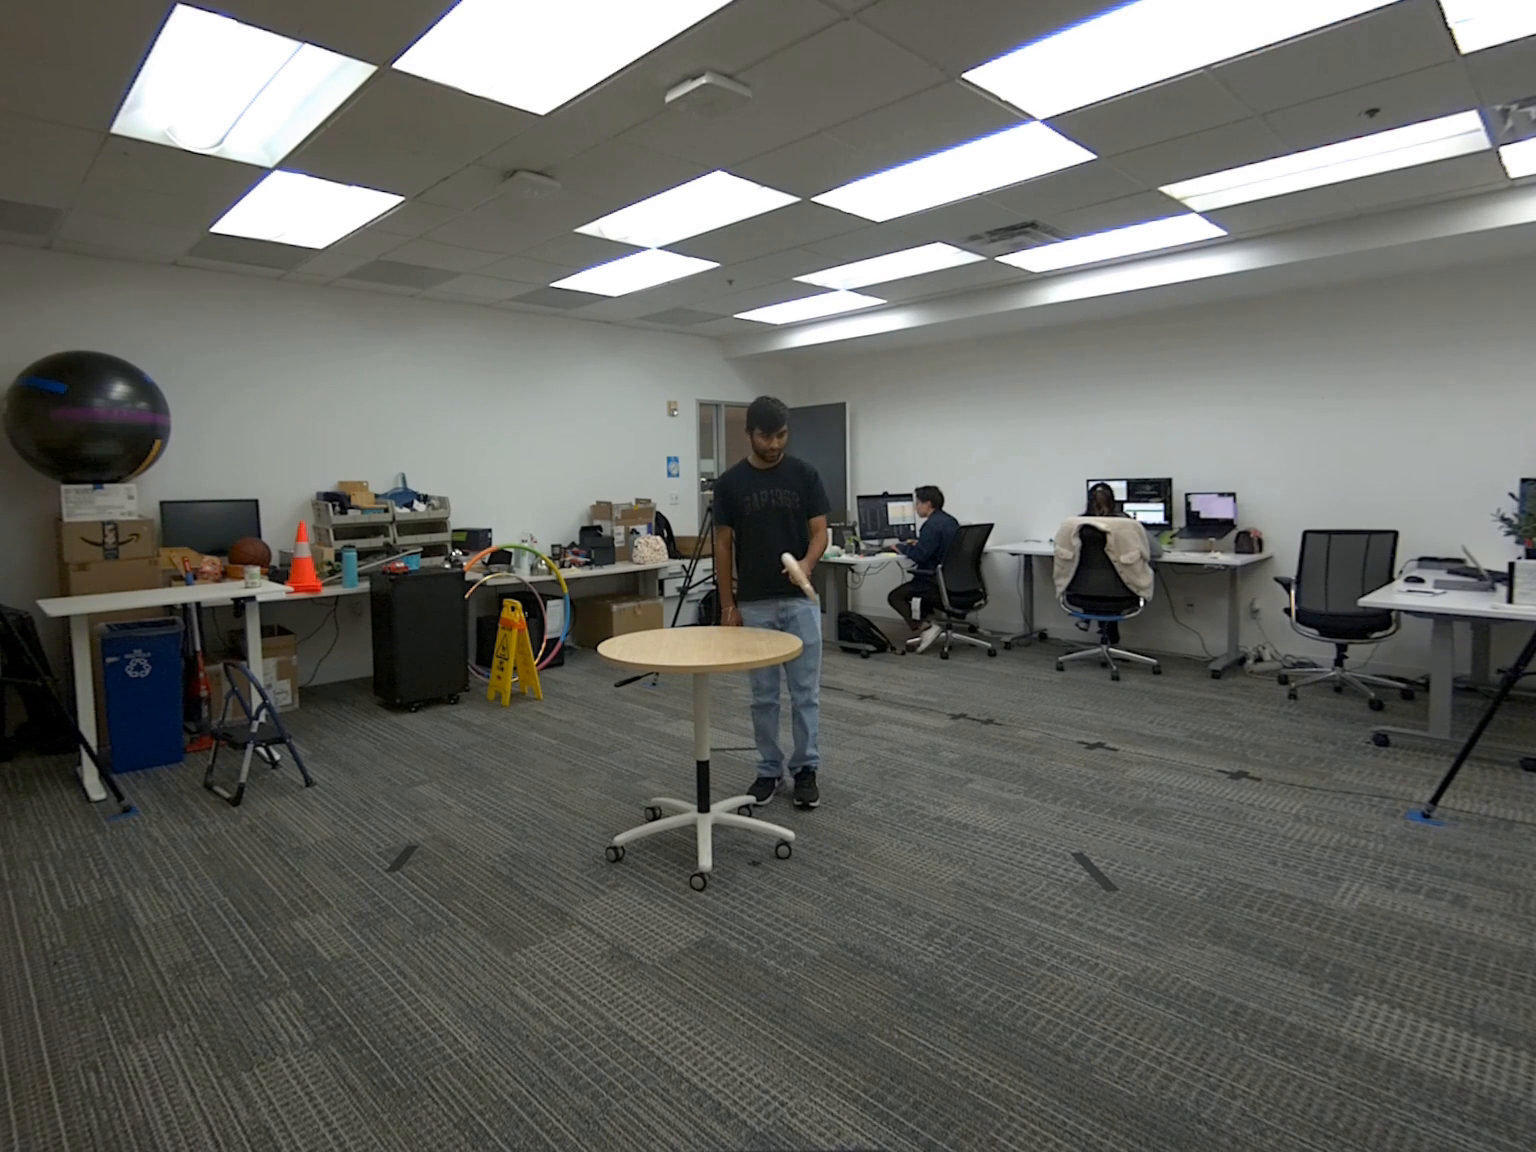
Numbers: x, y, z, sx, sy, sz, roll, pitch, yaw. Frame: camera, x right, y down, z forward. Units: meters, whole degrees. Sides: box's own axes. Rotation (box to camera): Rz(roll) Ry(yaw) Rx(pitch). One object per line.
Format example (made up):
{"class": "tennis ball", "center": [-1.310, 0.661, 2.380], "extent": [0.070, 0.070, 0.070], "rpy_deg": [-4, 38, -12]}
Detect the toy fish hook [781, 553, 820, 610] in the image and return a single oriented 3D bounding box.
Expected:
{"class": "toy fish hook", "center": [0.128, 0.041, 3.218], "extent": [0.048, 0.227, 0.502], "rpy_deg": [-26, -6, -1]}
